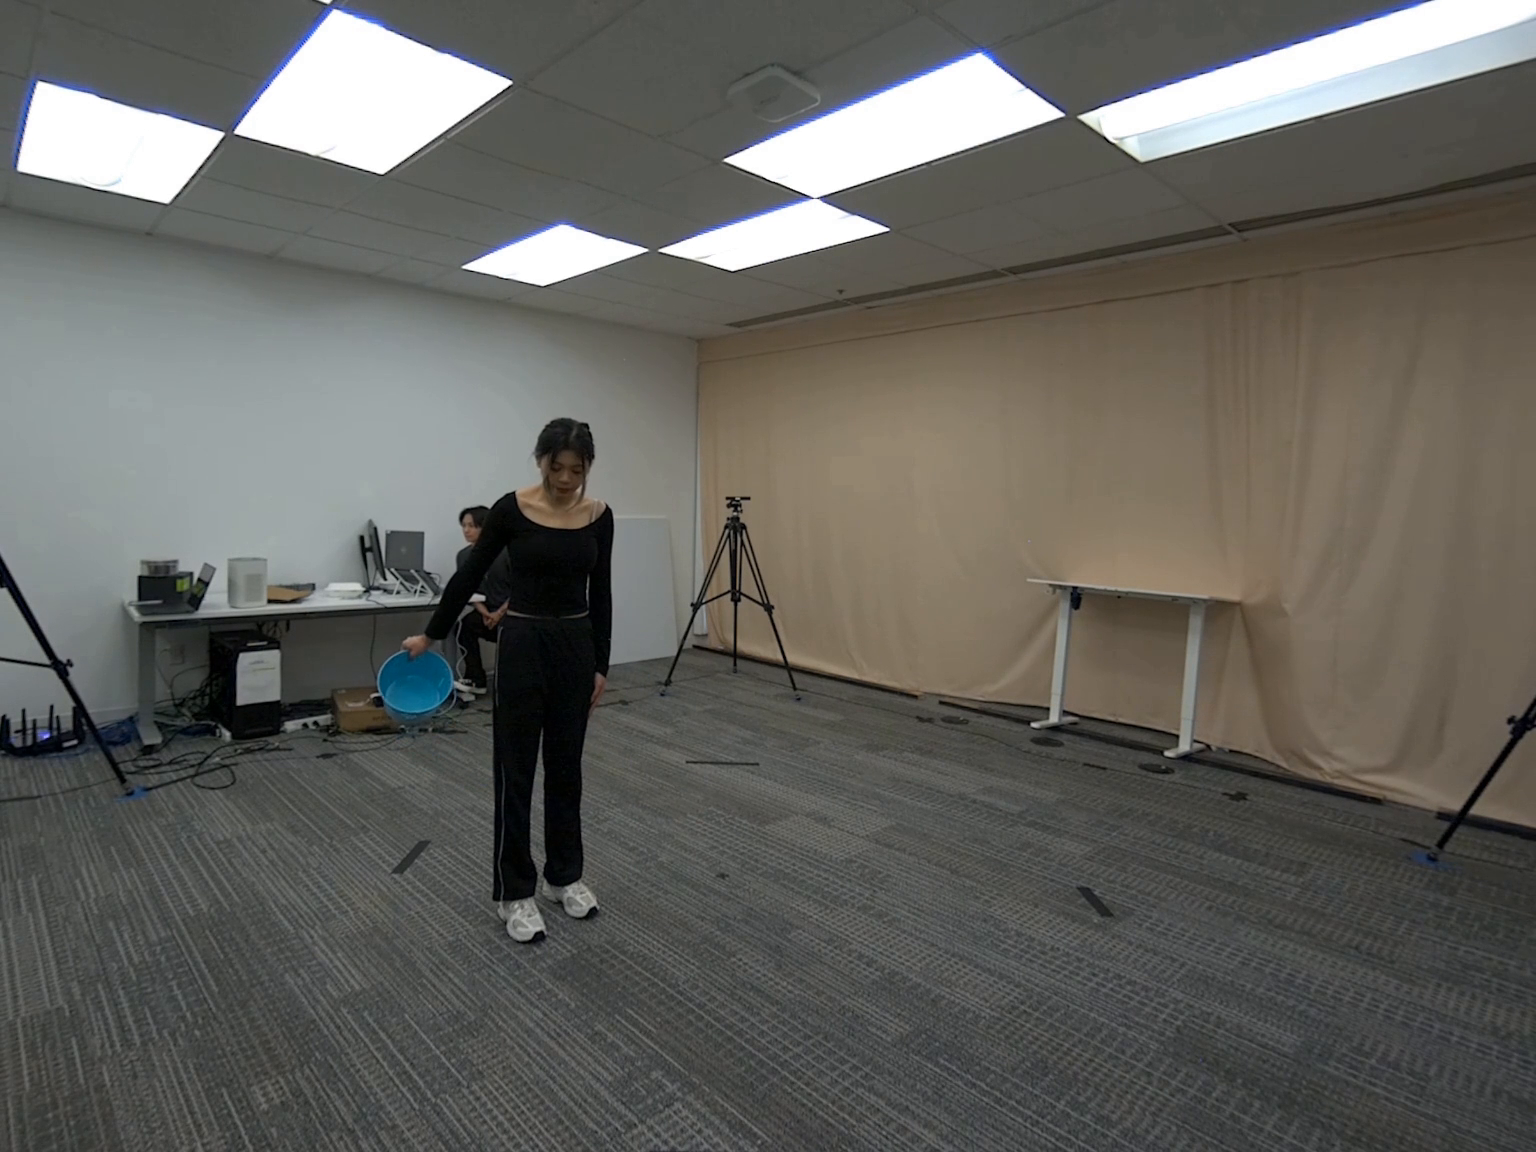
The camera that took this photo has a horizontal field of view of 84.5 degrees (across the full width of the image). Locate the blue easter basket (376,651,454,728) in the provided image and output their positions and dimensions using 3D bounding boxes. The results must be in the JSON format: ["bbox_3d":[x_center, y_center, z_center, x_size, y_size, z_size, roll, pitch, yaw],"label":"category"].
[{"bbox_3d":[-1.171,0.386,2.809,0.239,0.249,0.155,-1,-34,-24],"label":"blue easter basket"}]
